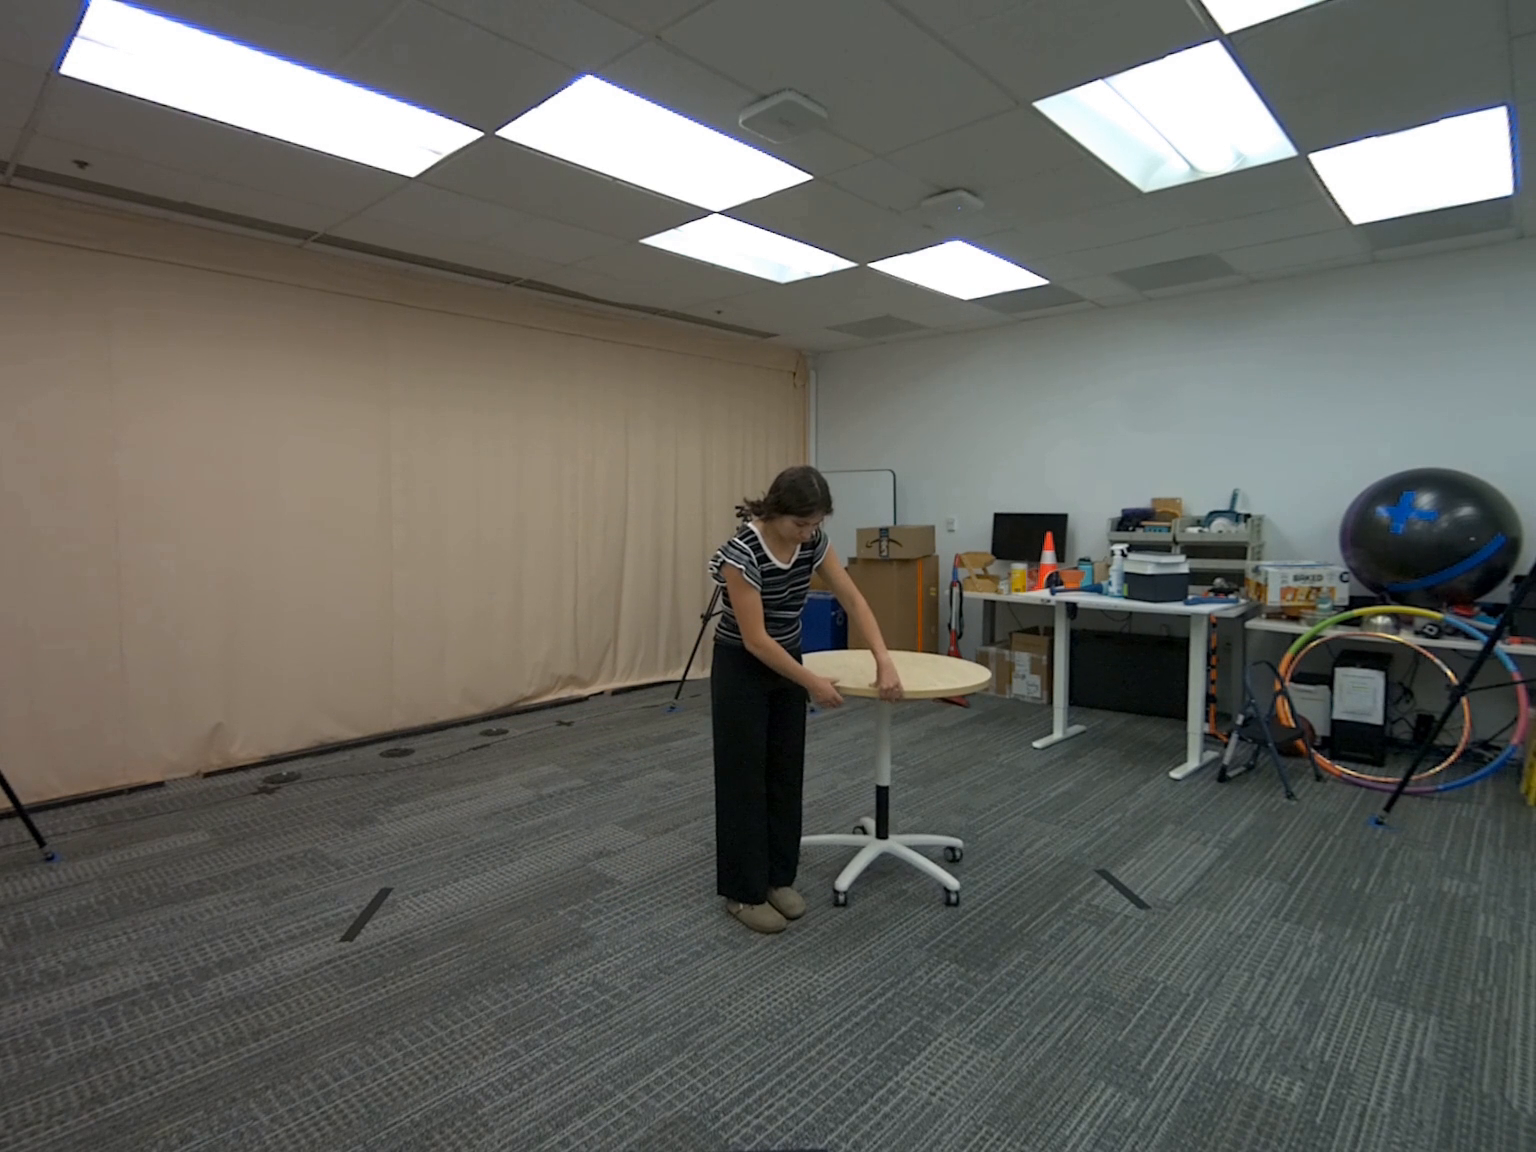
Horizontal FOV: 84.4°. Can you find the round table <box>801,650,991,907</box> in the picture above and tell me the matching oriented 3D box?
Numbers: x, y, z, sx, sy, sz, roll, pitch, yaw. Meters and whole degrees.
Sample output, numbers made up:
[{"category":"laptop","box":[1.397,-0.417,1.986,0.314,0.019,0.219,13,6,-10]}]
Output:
[{"category":"round table","box":[0.420,0.733,3.157,0.784,0.785,0.788,0,4,-2]}]
